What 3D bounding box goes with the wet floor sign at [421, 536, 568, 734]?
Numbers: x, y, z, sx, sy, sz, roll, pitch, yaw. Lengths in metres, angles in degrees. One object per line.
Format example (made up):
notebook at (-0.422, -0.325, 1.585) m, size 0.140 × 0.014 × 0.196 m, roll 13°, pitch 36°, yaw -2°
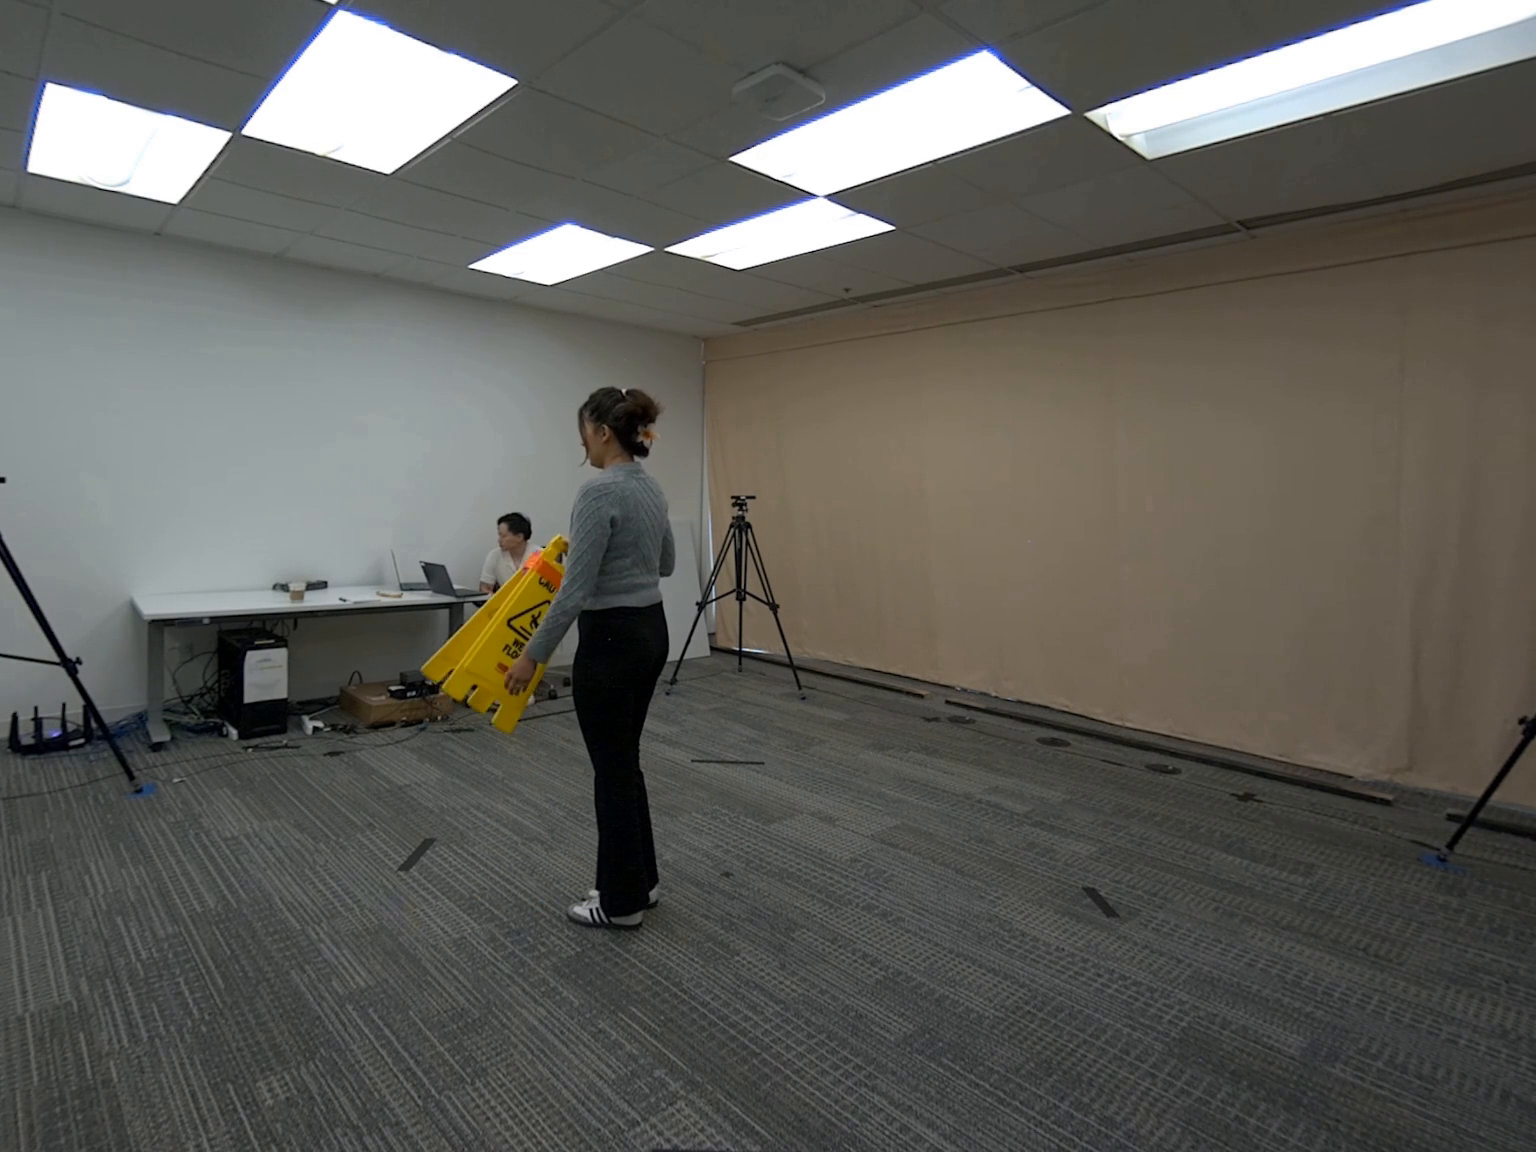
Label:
wet floor sign at (-0.842, 0.170, 2.899) m, size 0.274 × 0.648 × 0.297 m, roll 45°, pitch -21°, yaw -32°
